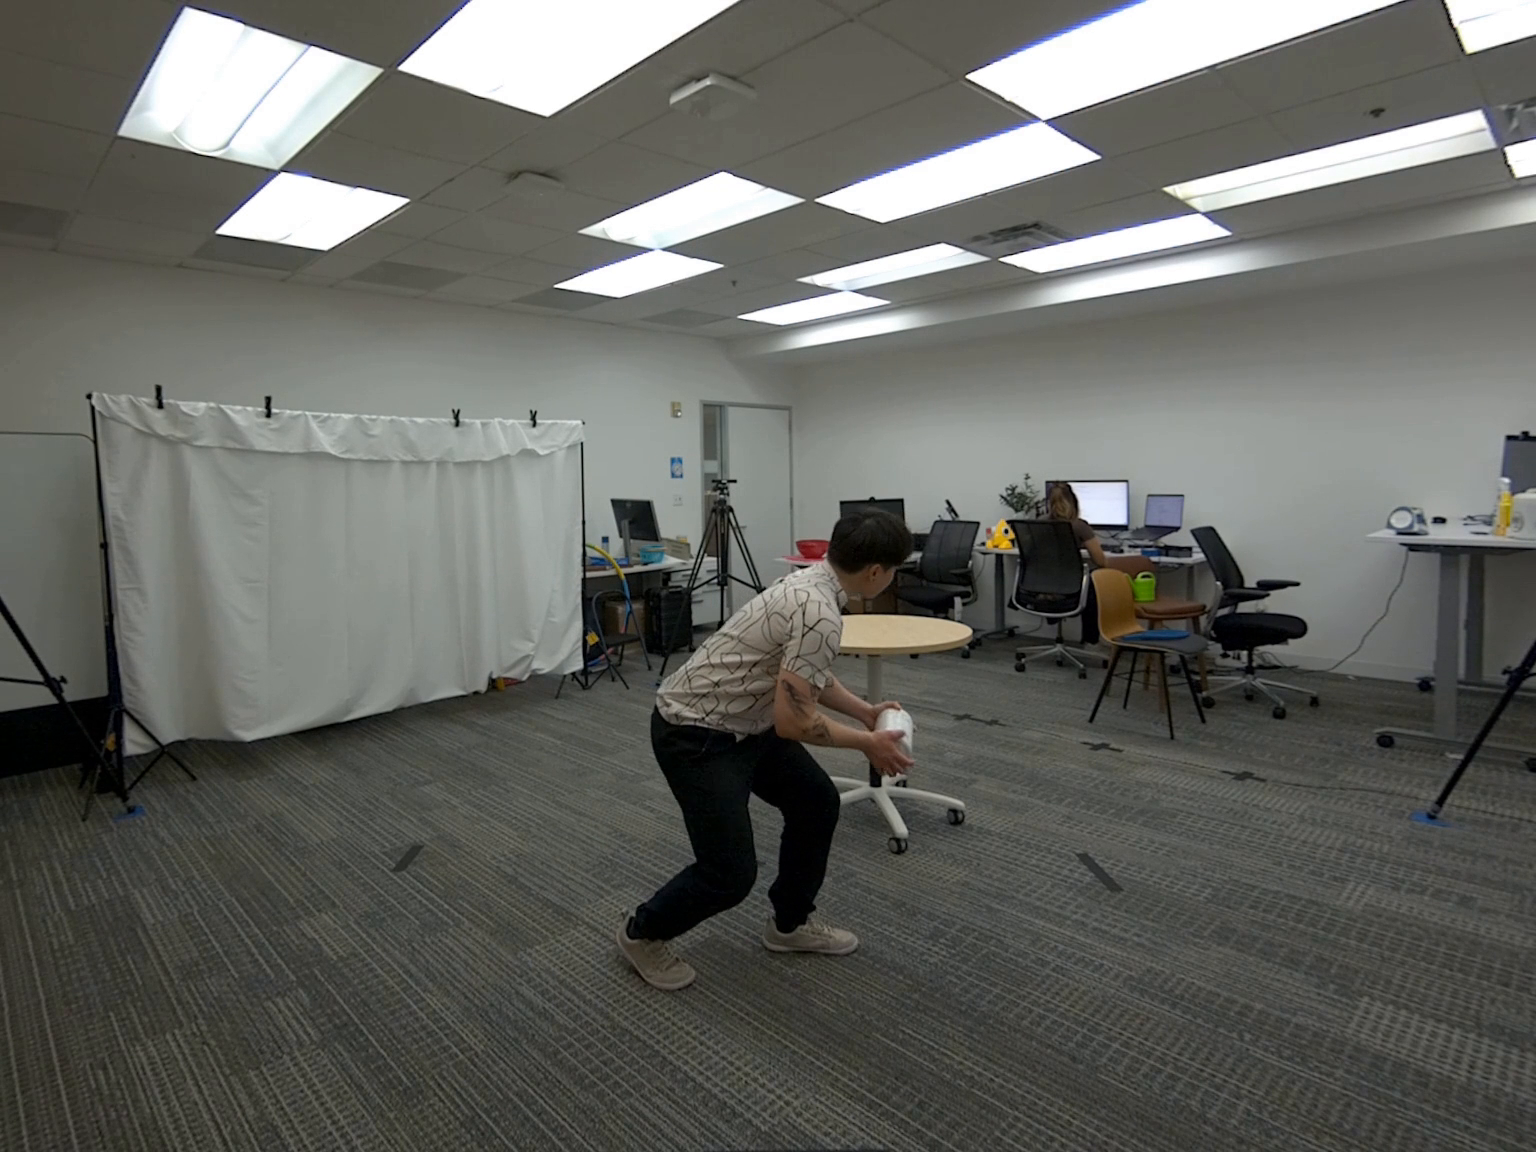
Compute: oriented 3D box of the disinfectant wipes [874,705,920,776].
[{"bbox_3d":[0.354,0.455,2.401,0.118,0.117,0.218,-1,10,6],"label":"disinfectant wipes"}]
